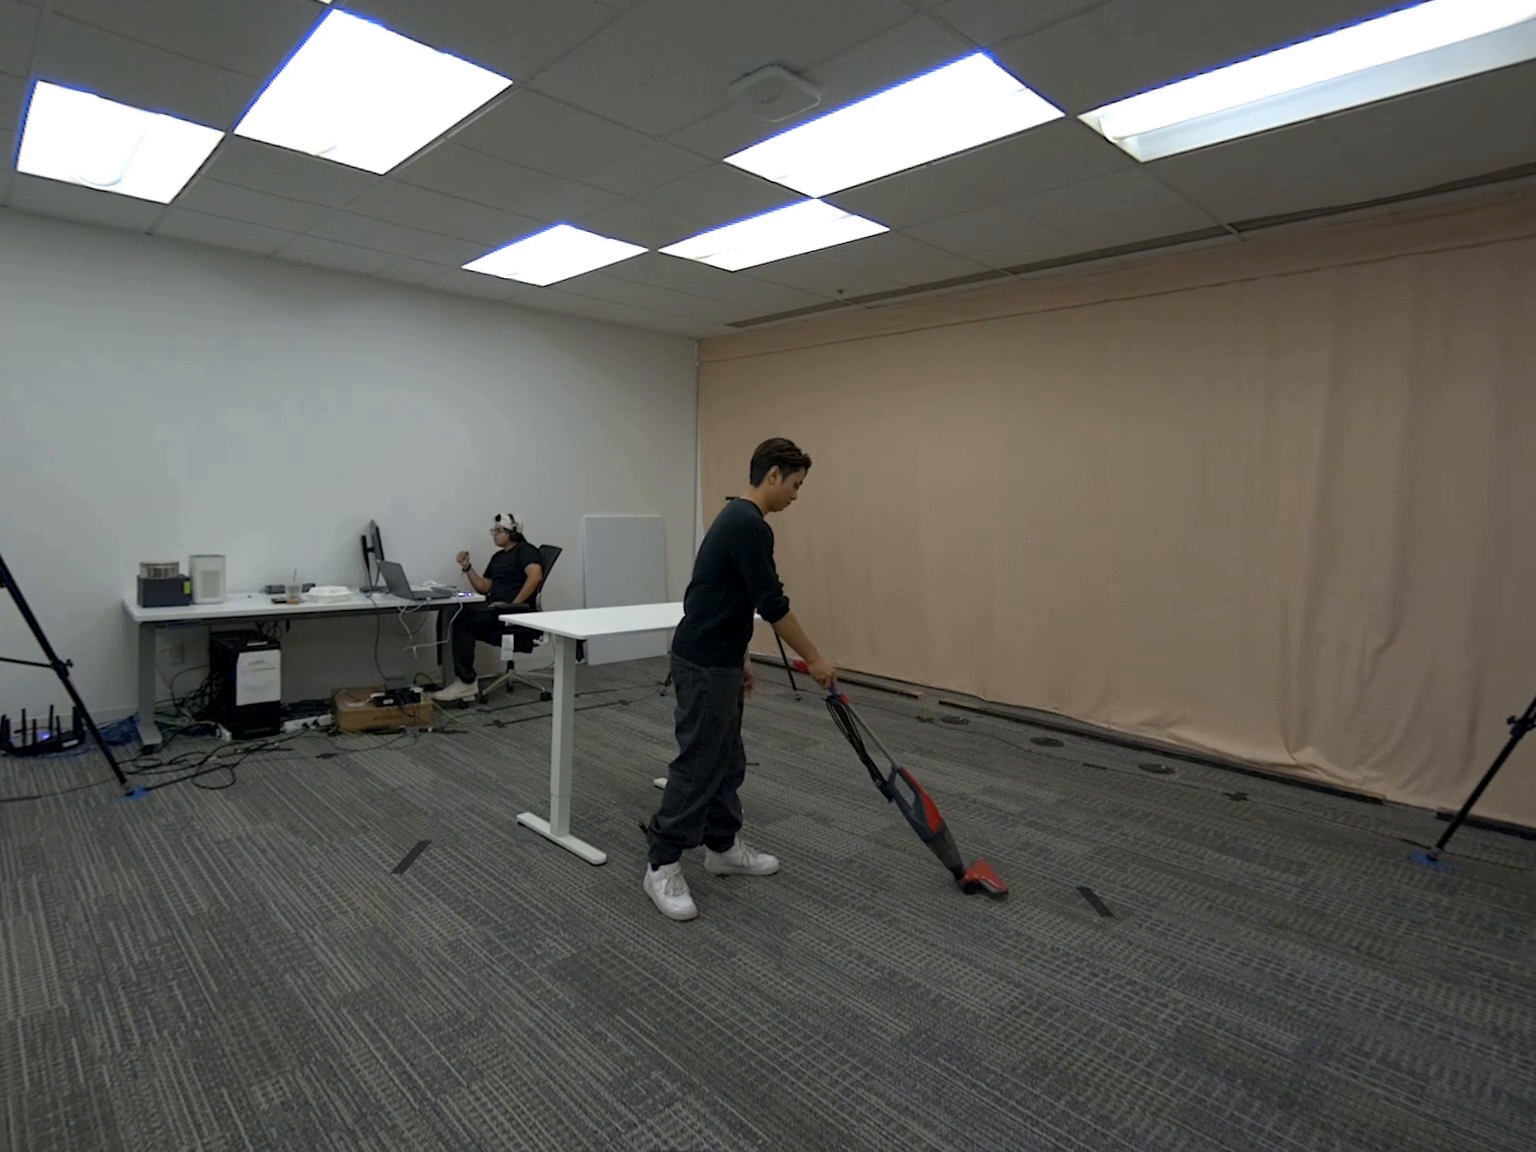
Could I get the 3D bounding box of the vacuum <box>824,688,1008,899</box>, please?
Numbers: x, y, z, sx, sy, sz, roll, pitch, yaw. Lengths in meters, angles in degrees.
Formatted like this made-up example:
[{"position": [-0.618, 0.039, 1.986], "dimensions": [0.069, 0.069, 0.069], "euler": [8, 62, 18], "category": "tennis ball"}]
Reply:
[{"position": [0.428, 0.714, 3.035], "dimensions": [0.144, 1.044, 0.254], "euler": [-40, 5, -6], "category": "vacuum"}]
